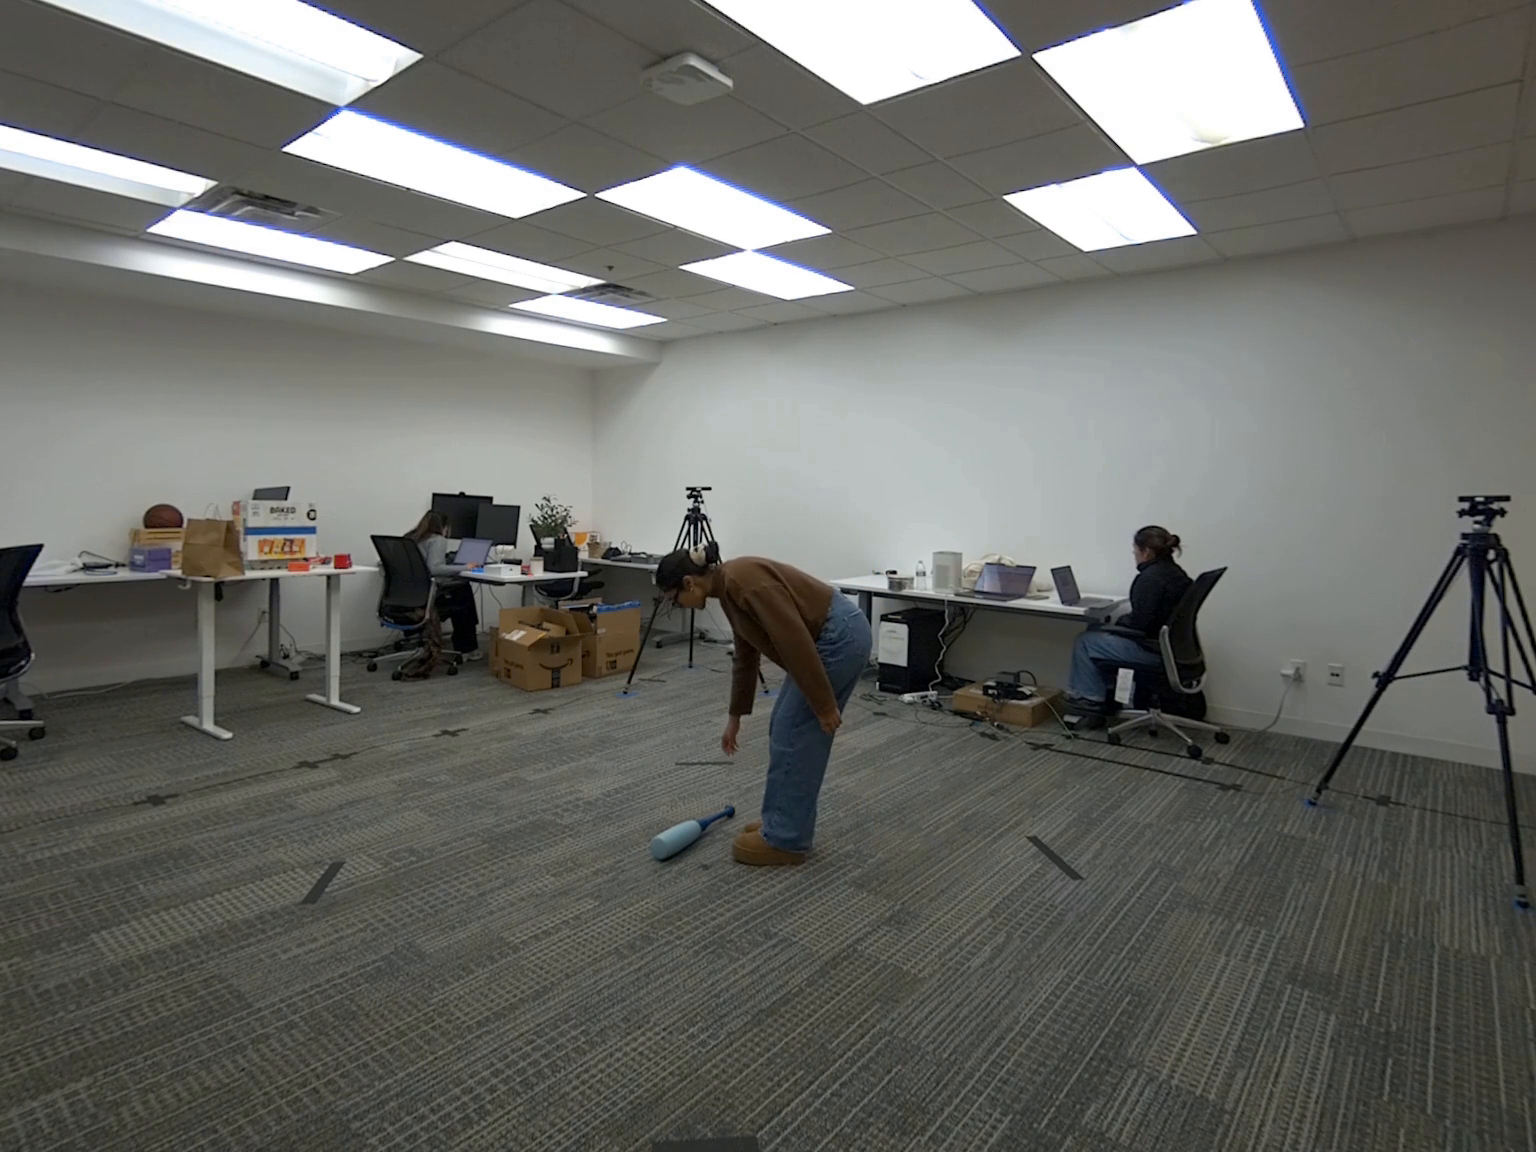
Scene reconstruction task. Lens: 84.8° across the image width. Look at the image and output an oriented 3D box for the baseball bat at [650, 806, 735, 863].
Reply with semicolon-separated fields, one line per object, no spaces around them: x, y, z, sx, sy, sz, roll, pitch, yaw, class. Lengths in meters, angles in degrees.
-0.293;1.002;3.384;0.091;0.089;0.528;3;2;29;baseball bat
